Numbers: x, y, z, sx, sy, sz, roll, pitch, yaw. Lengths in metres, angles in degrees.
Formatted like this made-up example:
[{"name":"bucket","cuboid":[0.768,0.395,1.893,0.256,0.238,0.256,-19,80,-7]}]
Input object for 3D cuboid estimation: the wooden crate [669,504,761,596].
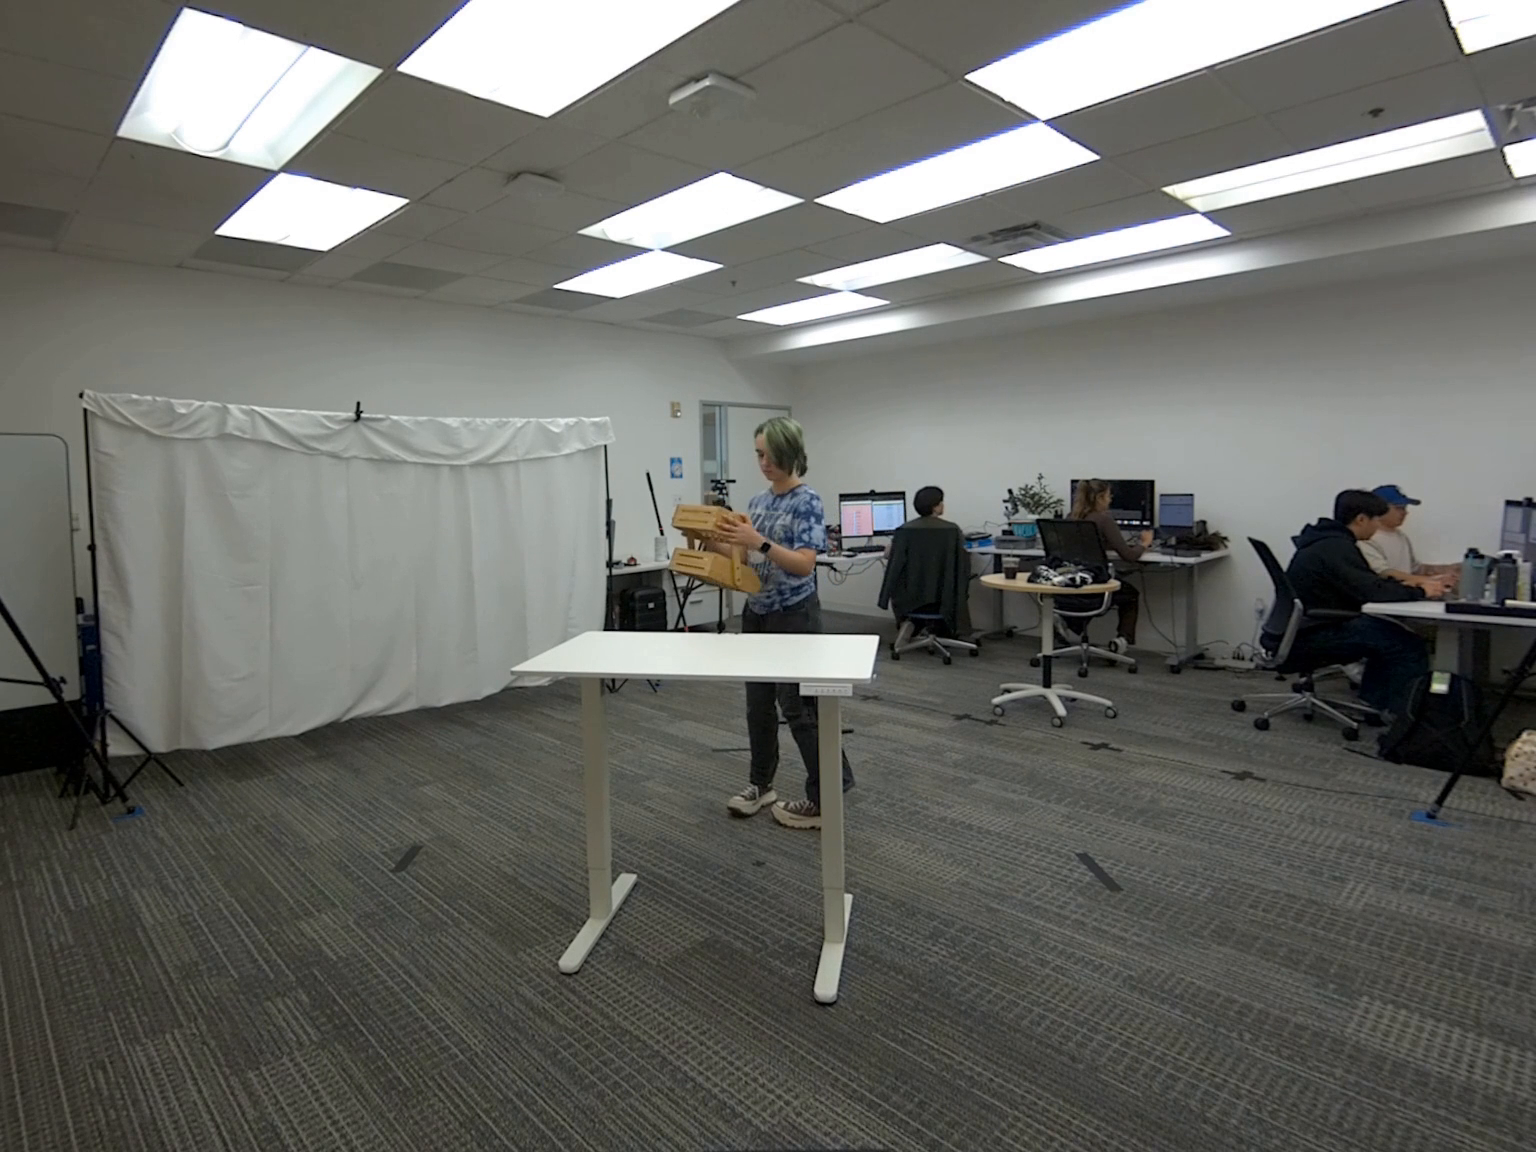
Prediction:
[{"name":"wooden crate","cuboid":[-0.188,-0.110,3.366,0.291,0.274,0.334,22,-8,-36]}]
